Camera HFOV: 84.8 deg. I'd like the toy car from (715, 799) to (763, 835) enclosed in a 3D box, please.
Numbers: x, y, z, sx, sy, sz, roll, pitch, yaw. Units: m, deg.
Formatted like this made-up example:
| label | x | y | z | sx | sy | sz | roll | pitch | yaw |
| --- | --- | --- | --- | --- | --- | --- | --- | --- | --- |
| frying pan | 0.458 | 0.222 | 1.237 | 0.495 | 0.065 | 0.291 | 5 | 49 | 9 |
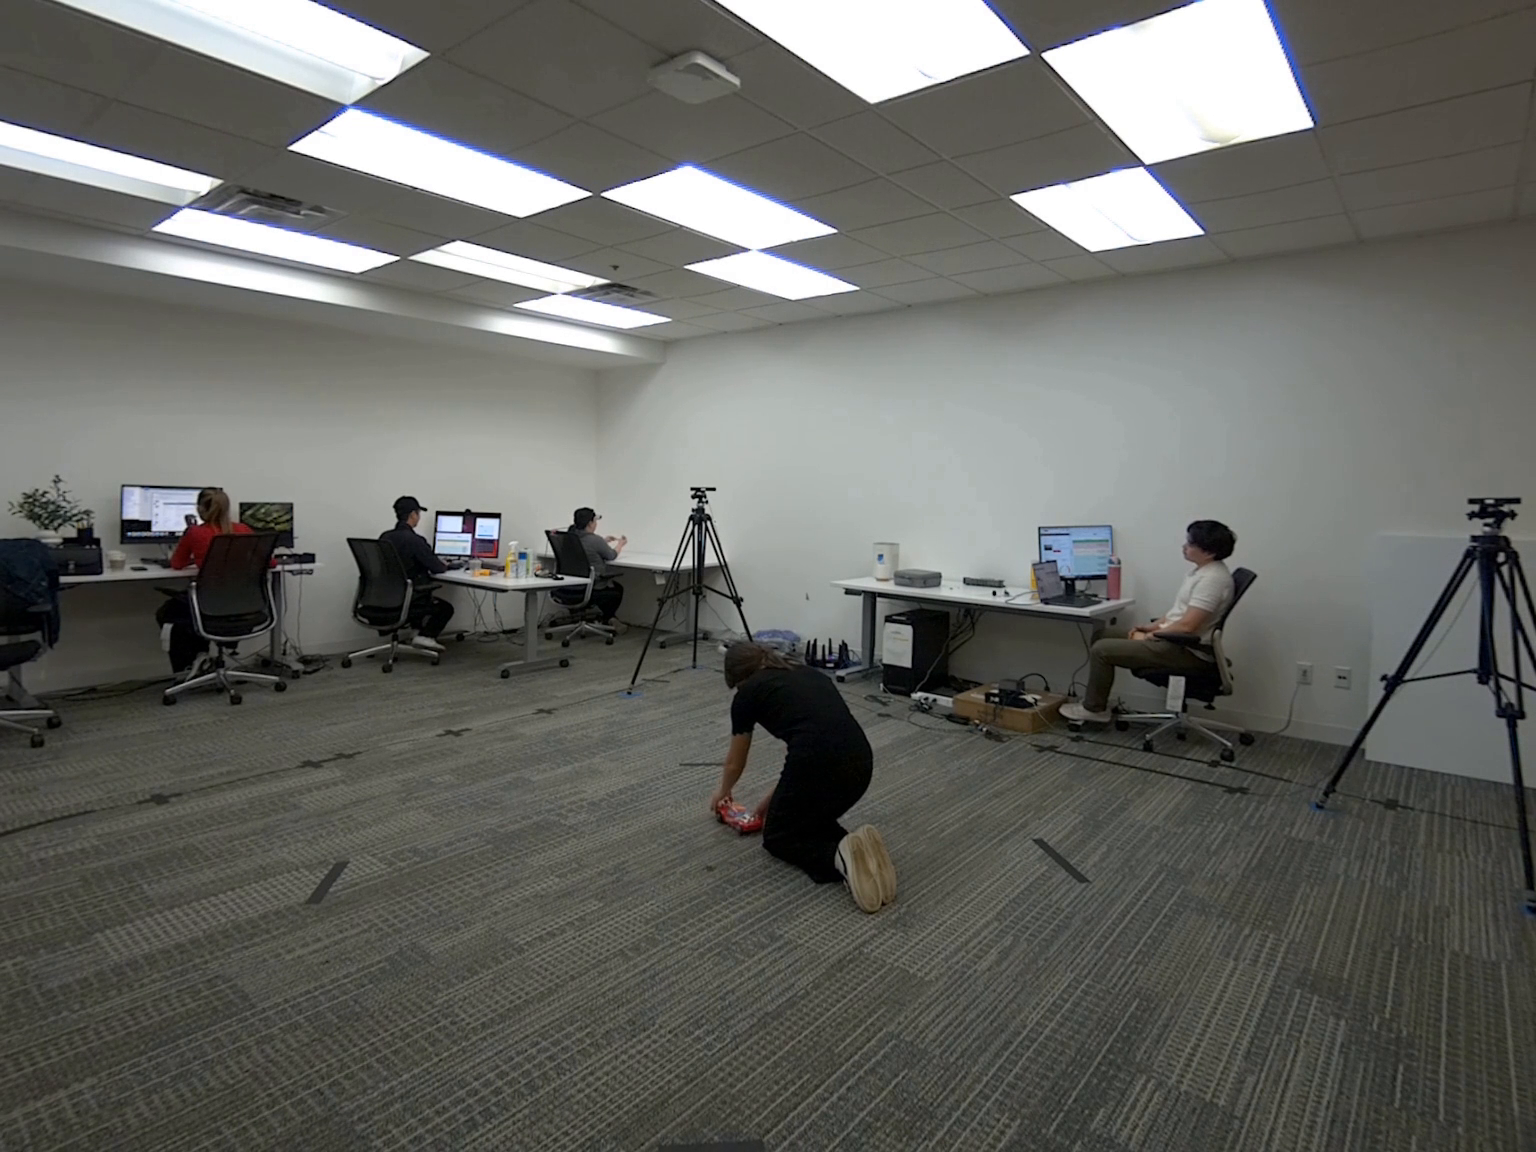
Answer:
| label | x | y | z | sx | sy | sz | roll | pitch | yaw |
| --- | --- | --- | --- | --- | --- | --- | --- | --- | --- |
| toy car | -0.139 | 1.000 | 3.529 | 0.127 | 0.082 | 0.264 | -1 | 16 | -32 |
